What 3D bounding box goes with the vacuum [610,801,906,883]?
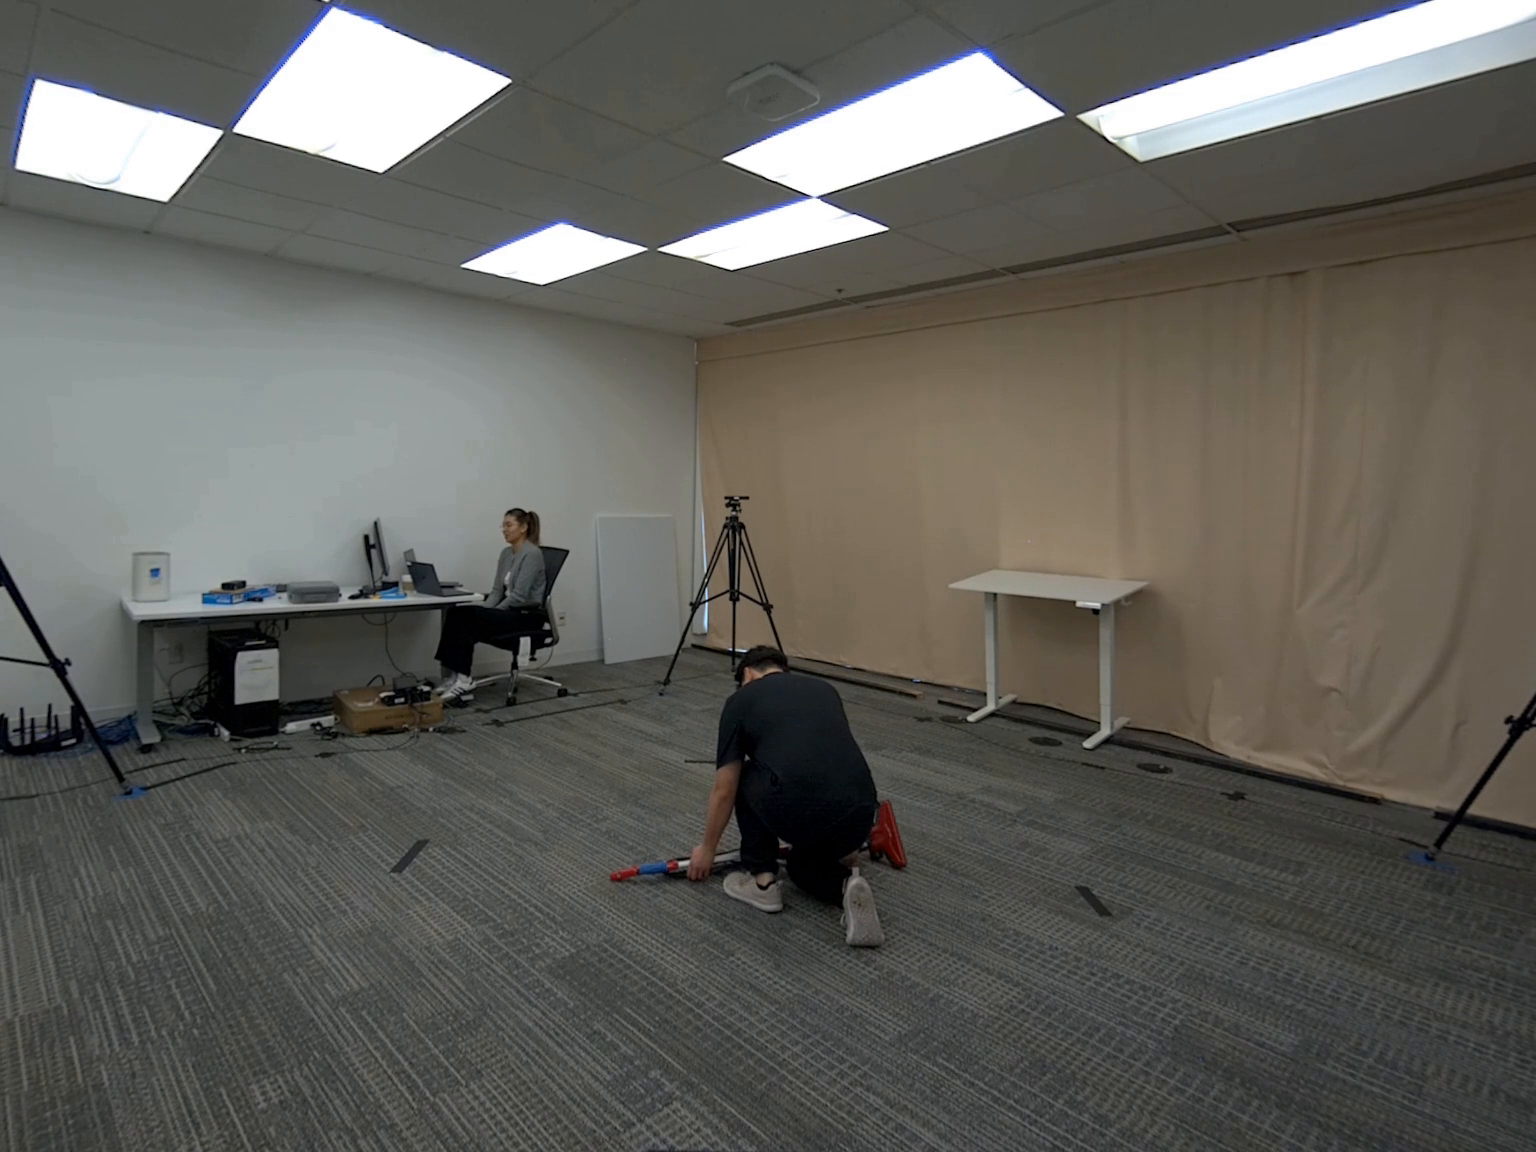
[{"bbox_3d":[-0.050,1.045,3.147,1.039,0.259,0.142,-4,-33,-12],"label":"vacuum"}]
